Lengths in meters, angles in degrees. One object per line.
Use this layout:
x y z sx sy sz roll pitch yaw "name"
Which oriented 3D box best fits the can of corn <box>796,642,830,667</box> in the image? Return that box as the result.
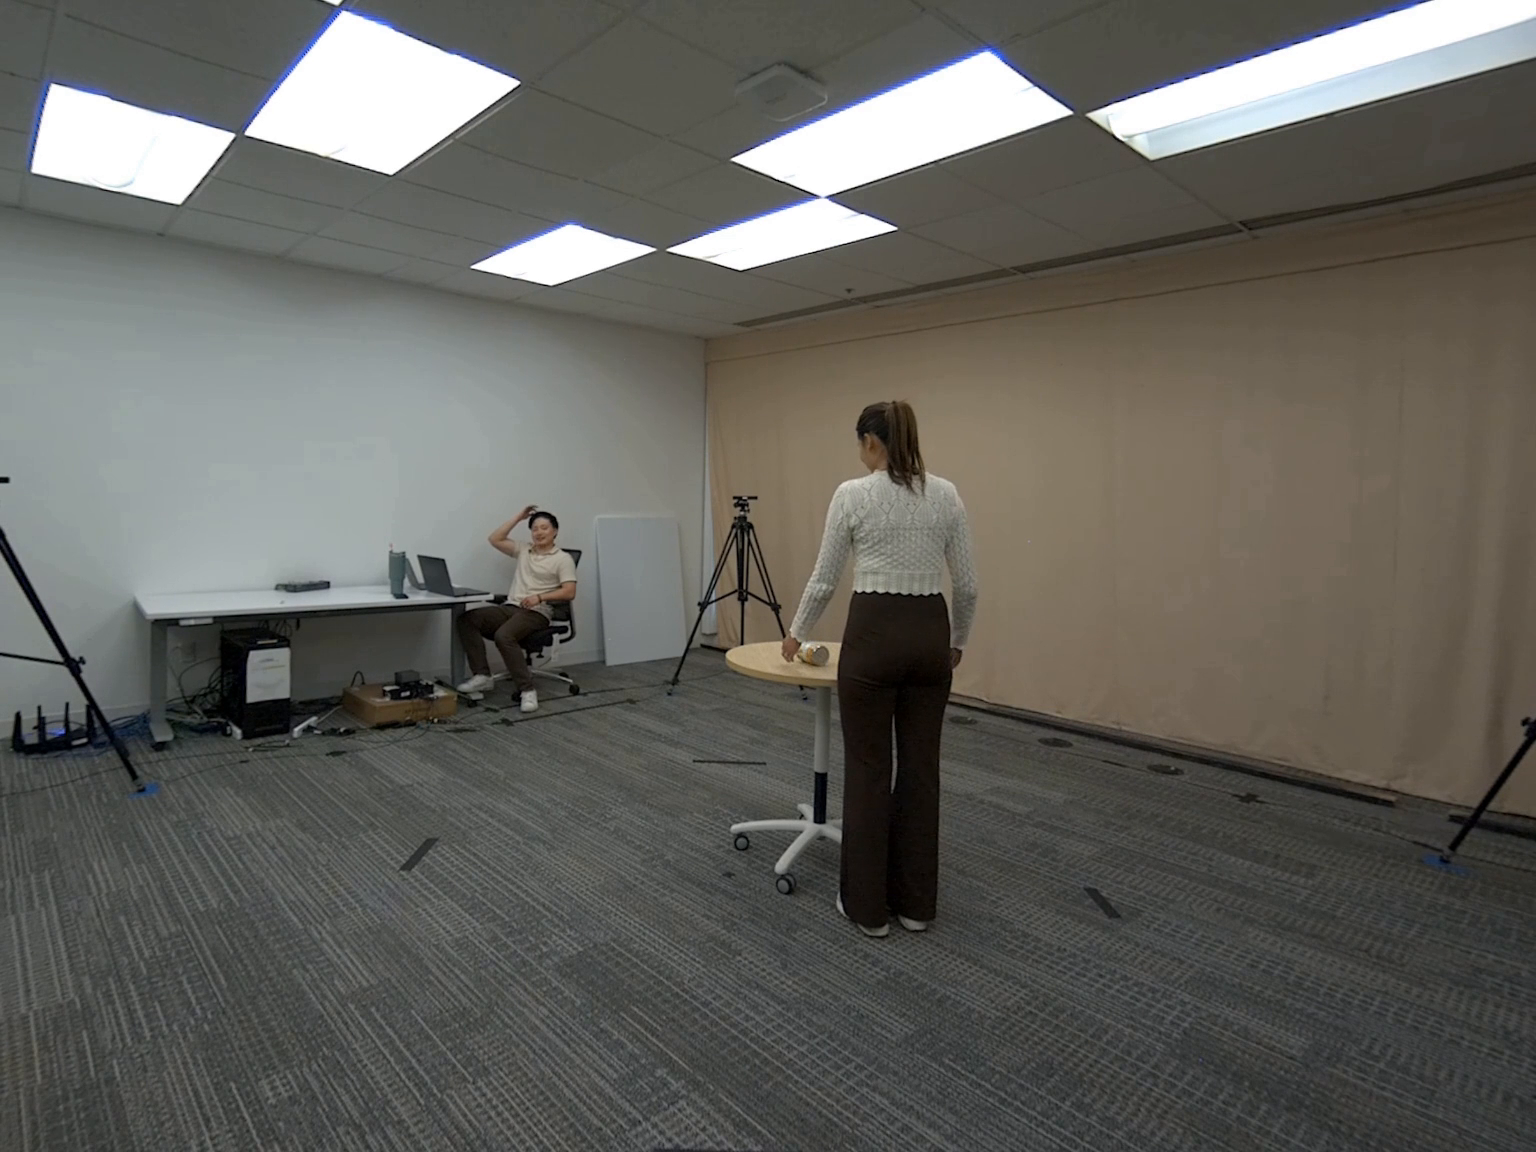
0.158 0.286 3.127 0.073 0.074 0.113 -1 5 -28 "can of corn"
